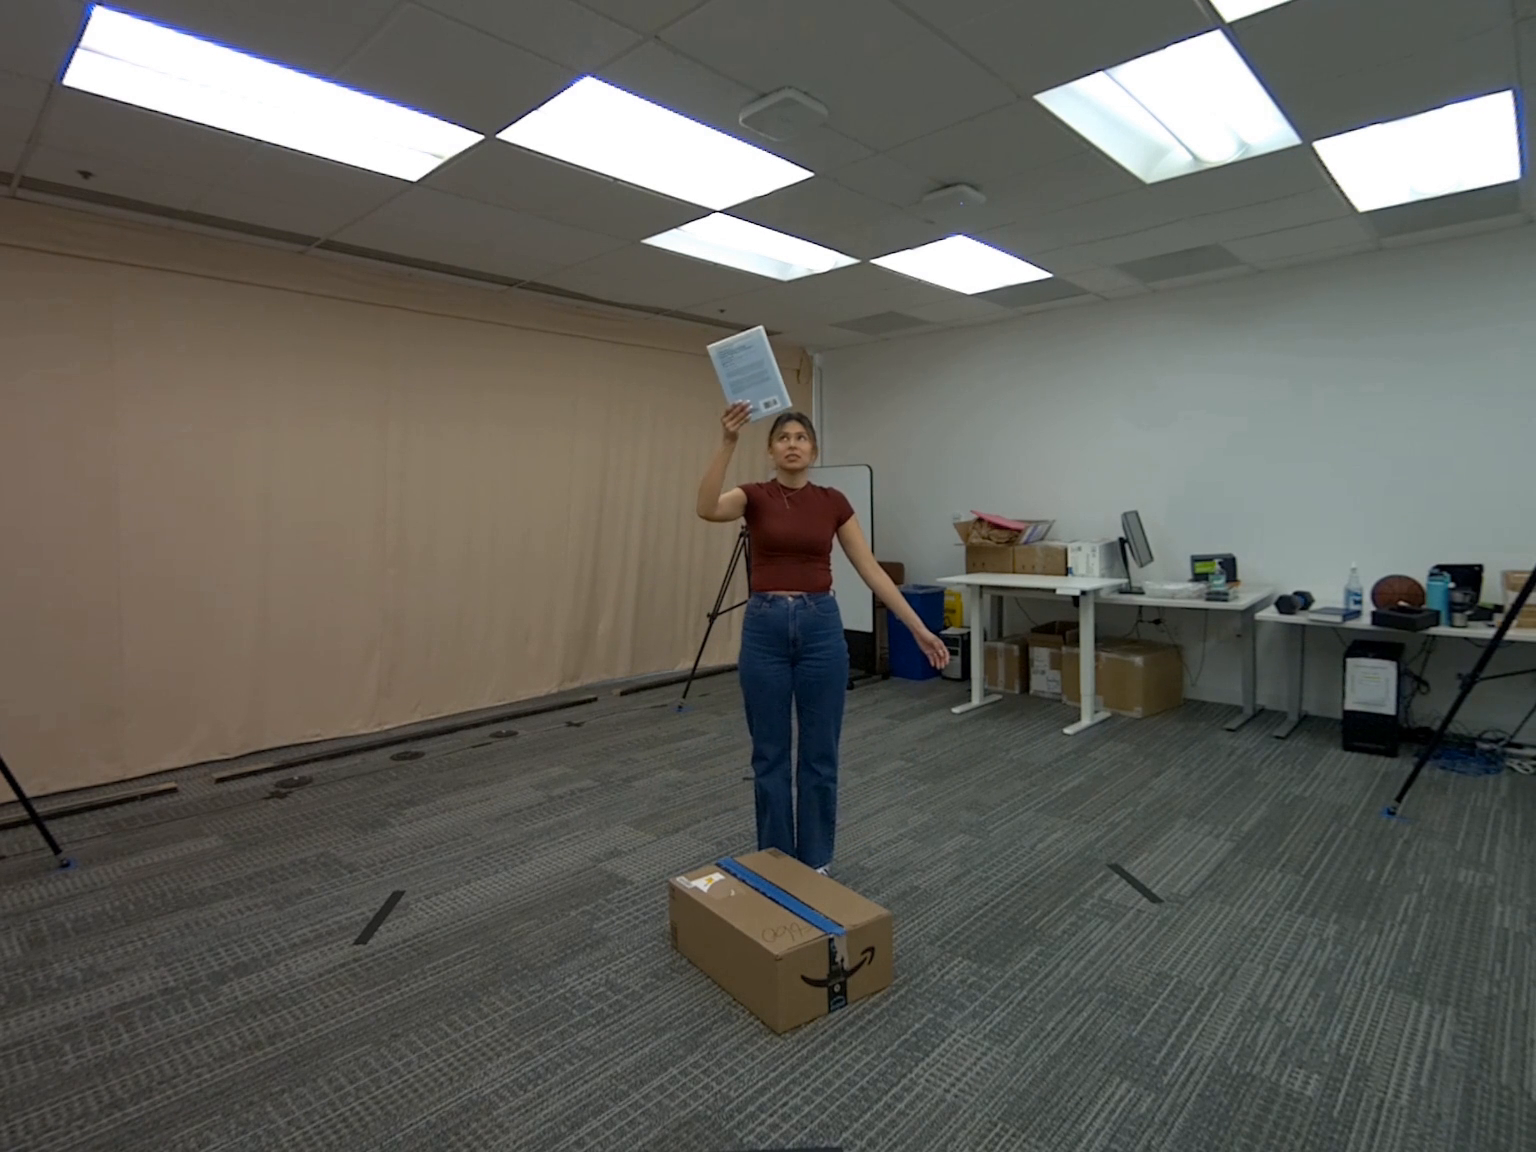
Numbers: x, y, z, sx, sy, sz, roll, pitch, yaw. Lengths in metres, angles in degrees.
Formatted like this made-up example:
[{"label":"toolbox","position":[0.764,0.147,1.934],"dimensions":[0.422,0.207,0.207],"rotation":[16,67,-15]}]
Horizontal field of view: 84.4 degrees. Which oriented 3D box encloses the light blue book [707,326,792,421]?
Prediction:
[{"label":"light blue book","position":[-0.058,-0.623,2.633],"dimensions":[0.194,0.258,0.059],"rotation":[-17,14,15]}]
